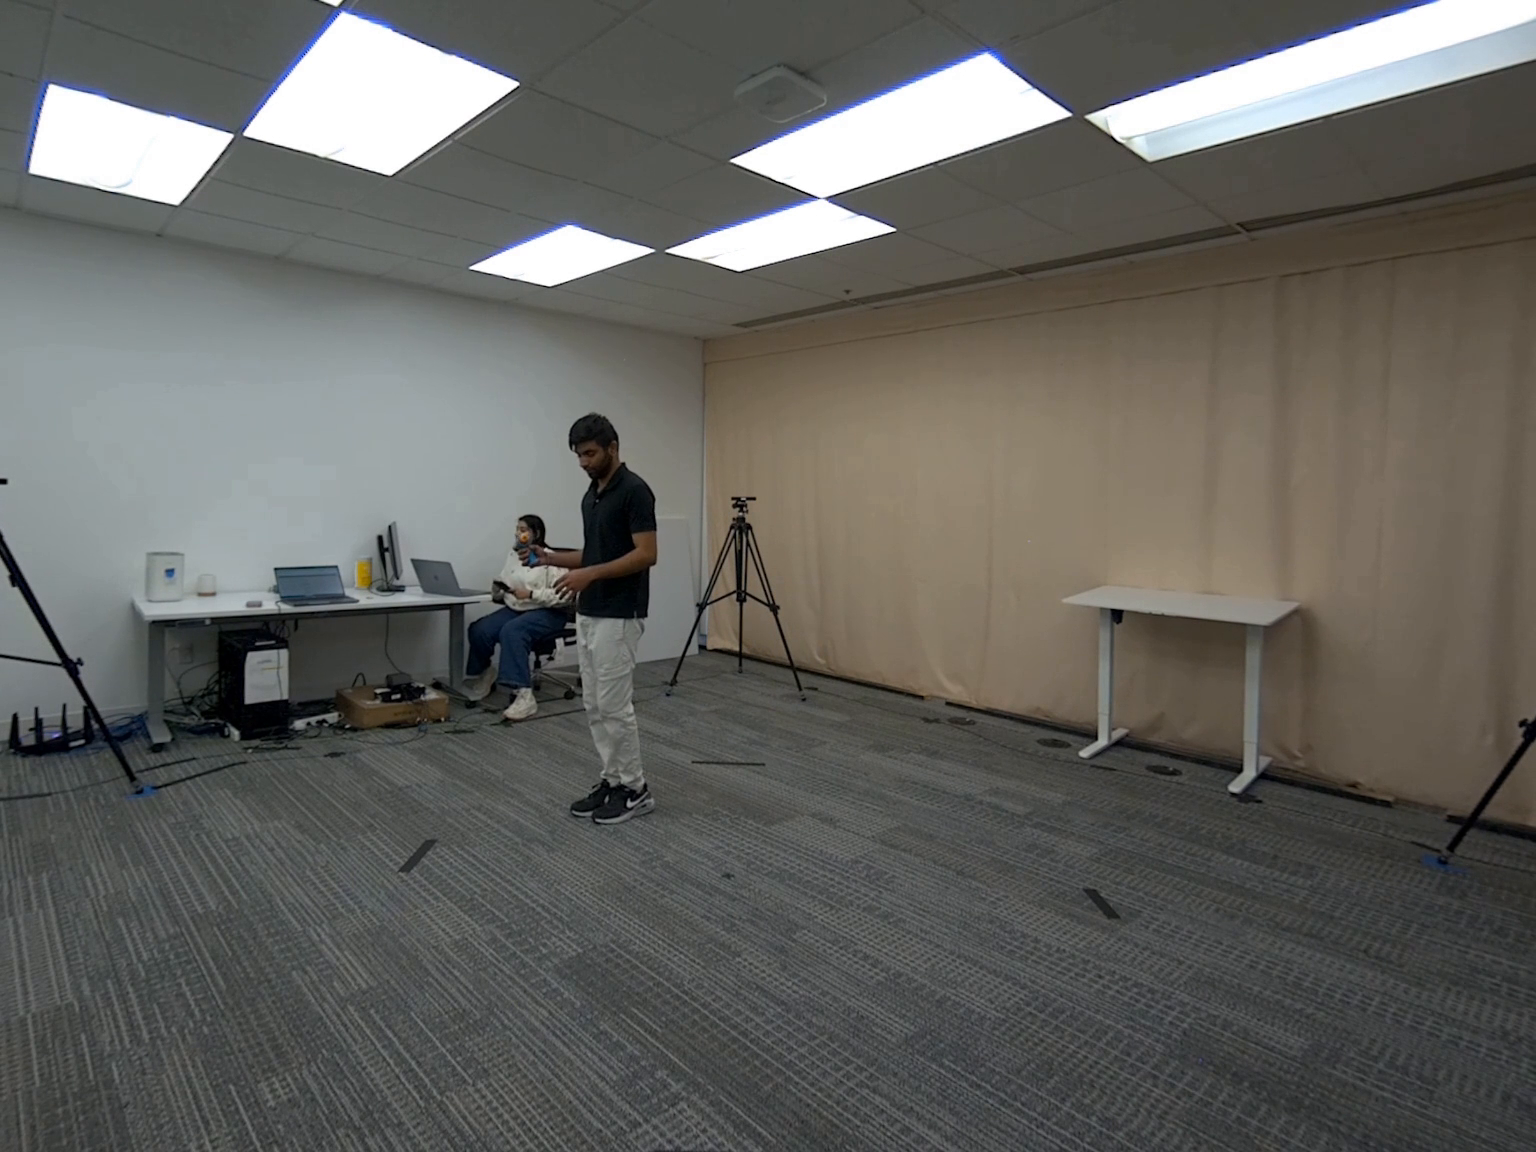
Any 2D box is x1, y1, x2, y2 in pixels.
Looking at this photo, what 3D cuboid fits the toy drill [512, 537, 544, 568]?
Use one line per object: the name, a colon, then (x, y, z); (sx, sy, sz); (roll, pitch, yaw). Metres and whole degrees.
toy drill: (-1.026, -0.130, 3.632); (0.144, 0.061, 0.171); (38, -26, -11)
